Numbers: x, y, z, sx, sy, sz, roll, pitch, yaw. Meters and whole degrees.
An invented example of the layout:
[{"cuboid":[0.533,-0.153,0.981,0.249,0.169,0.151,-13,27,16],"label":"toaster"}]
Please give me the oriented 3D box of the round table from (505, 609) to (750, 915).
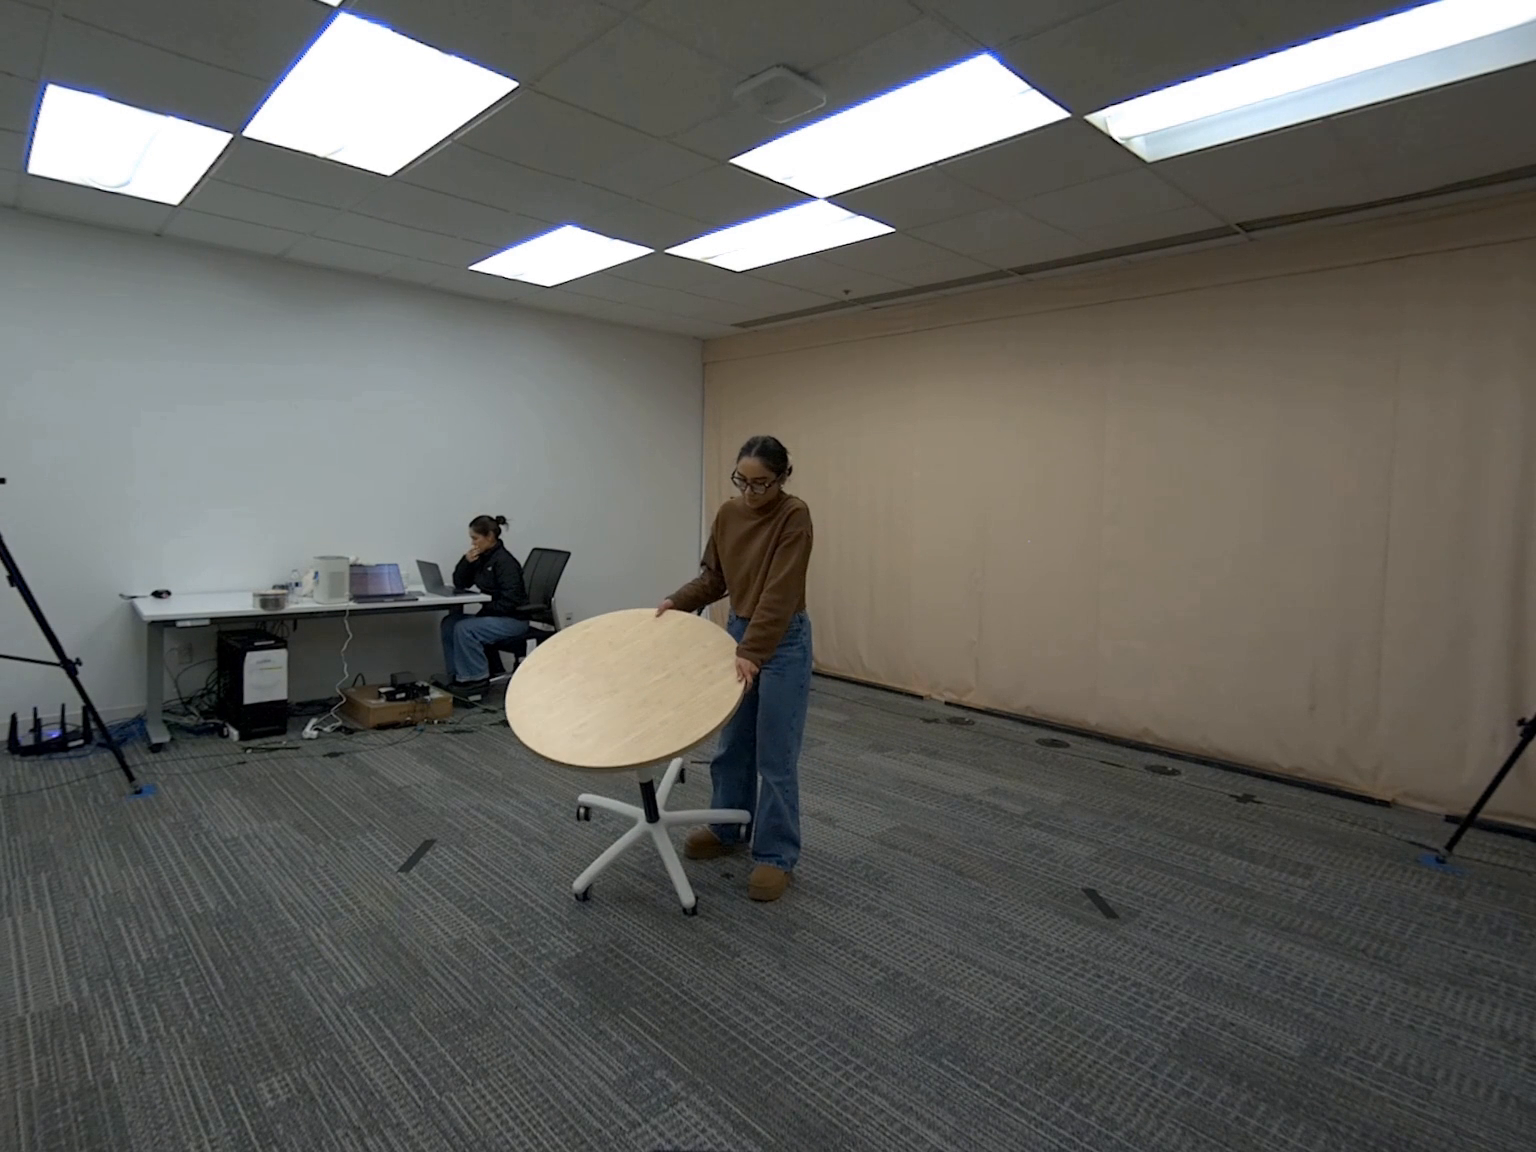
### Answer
[{"cuboid":[-0.435,0.654,2.886,0.765,0.777,0.779,-4,32,1],"label":"round table"}]
